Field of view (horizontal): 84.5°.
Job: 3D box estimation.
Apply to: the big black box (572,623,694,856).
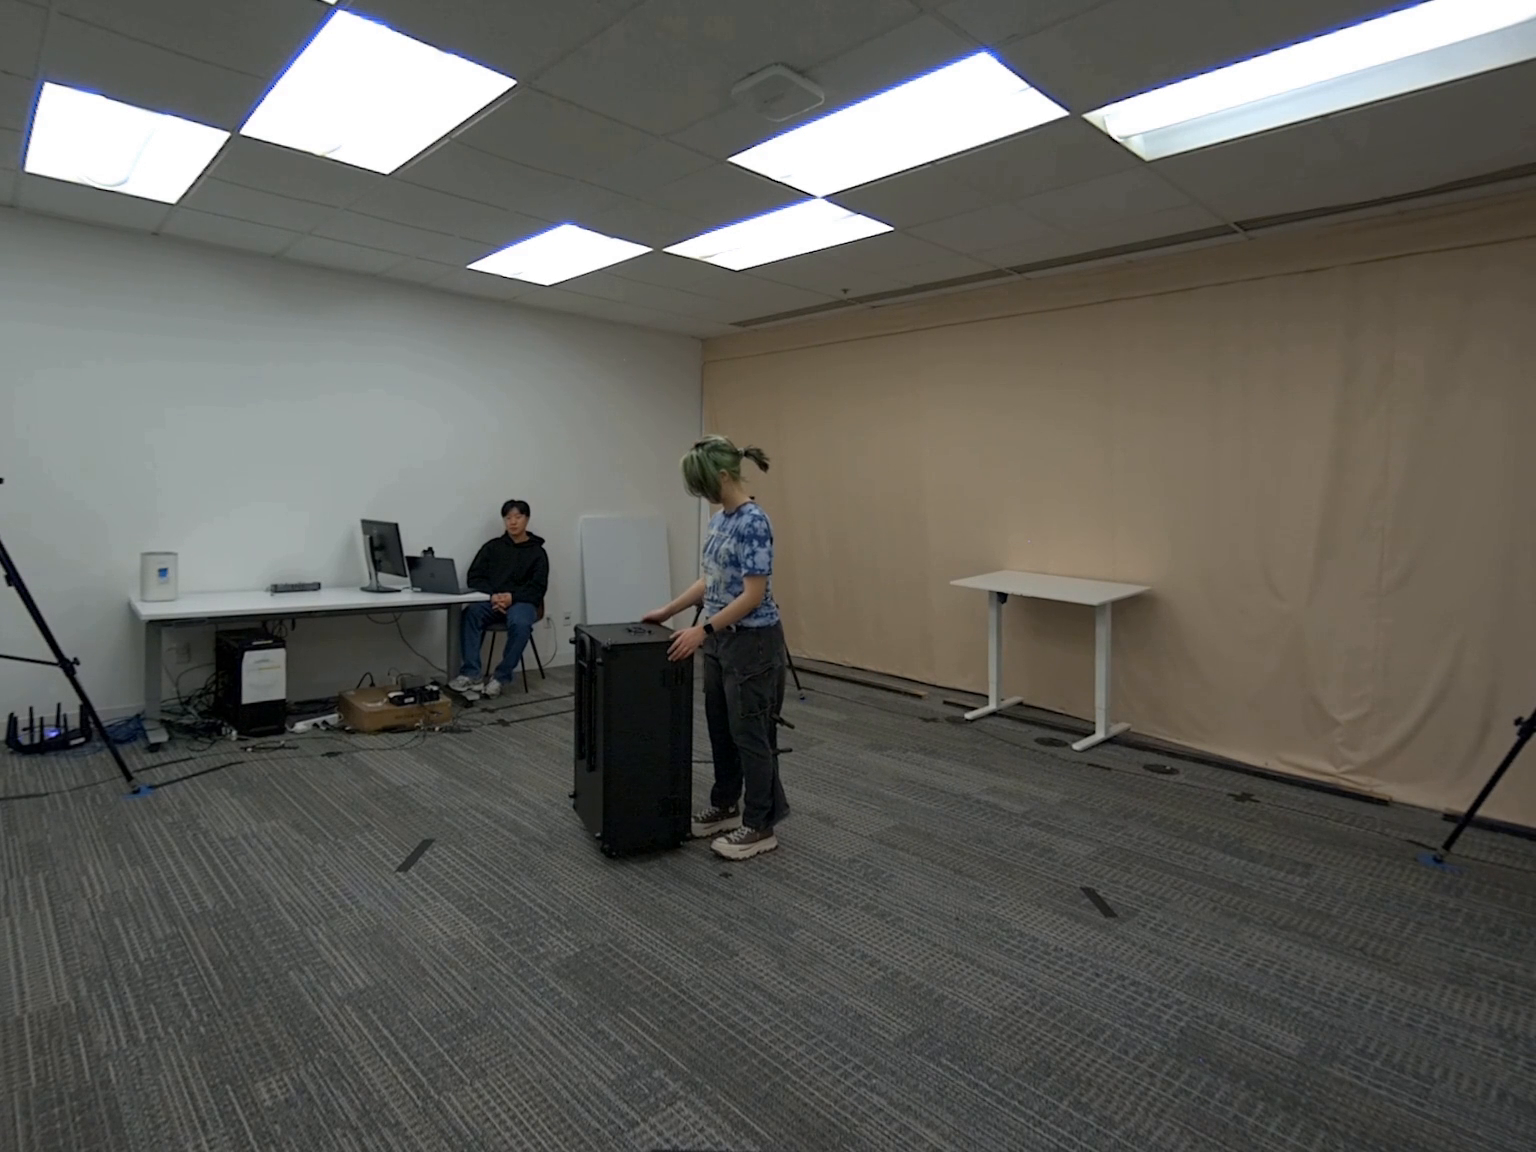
[{"bbox_3d":[-0.565,0.651,3.357,0.389,0.859,0.532,-2,5,-25],"label":"big black box"}]
